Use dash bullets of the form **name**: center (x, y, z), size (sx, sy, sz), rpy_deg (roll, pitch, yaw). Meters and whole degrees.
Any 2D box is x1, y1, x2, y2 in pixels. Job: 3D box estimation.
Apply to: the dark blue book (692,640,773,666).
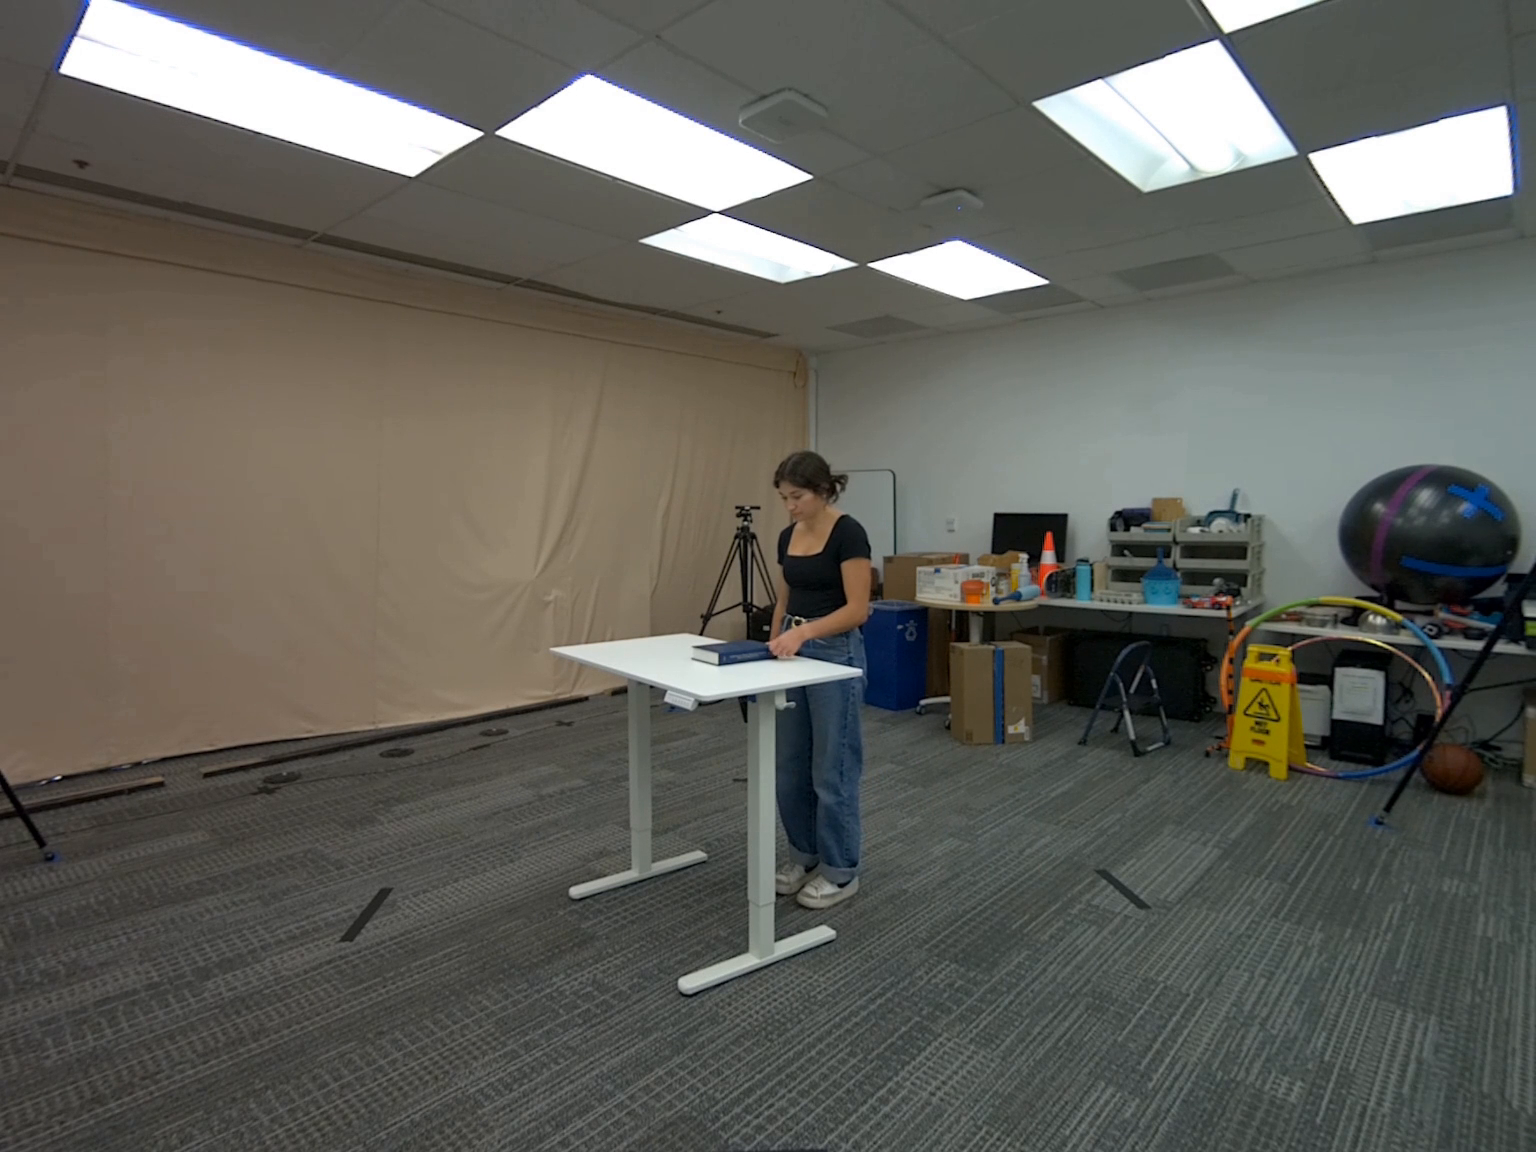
- **dark blue book**: center (-0.107, 0.259, 2.822), size (0.238, 0.045, 0.169), rpy_deg (-4, 6, -37)
